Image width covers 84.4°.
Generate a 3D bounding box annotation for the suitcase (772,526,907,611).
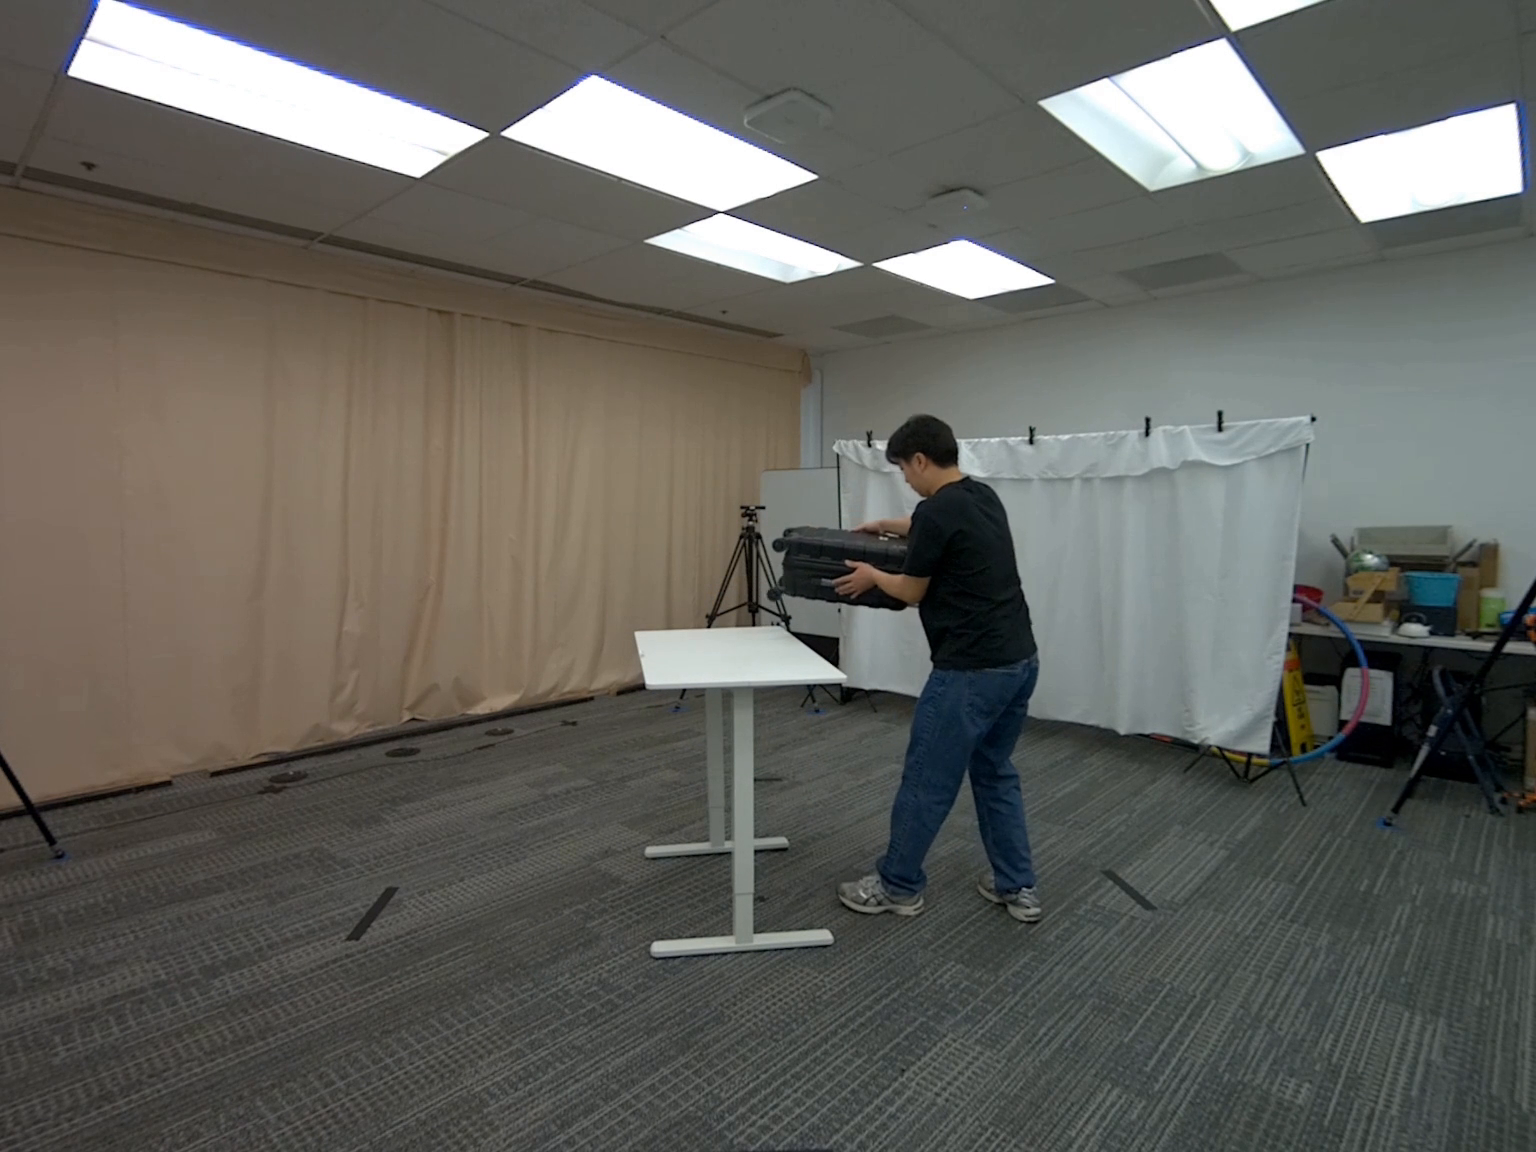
[{"bbox_3d":[0.507,-0.011,3.260,0.993,0.255,0.381,5,11,12],"label":"suitcase"}]
